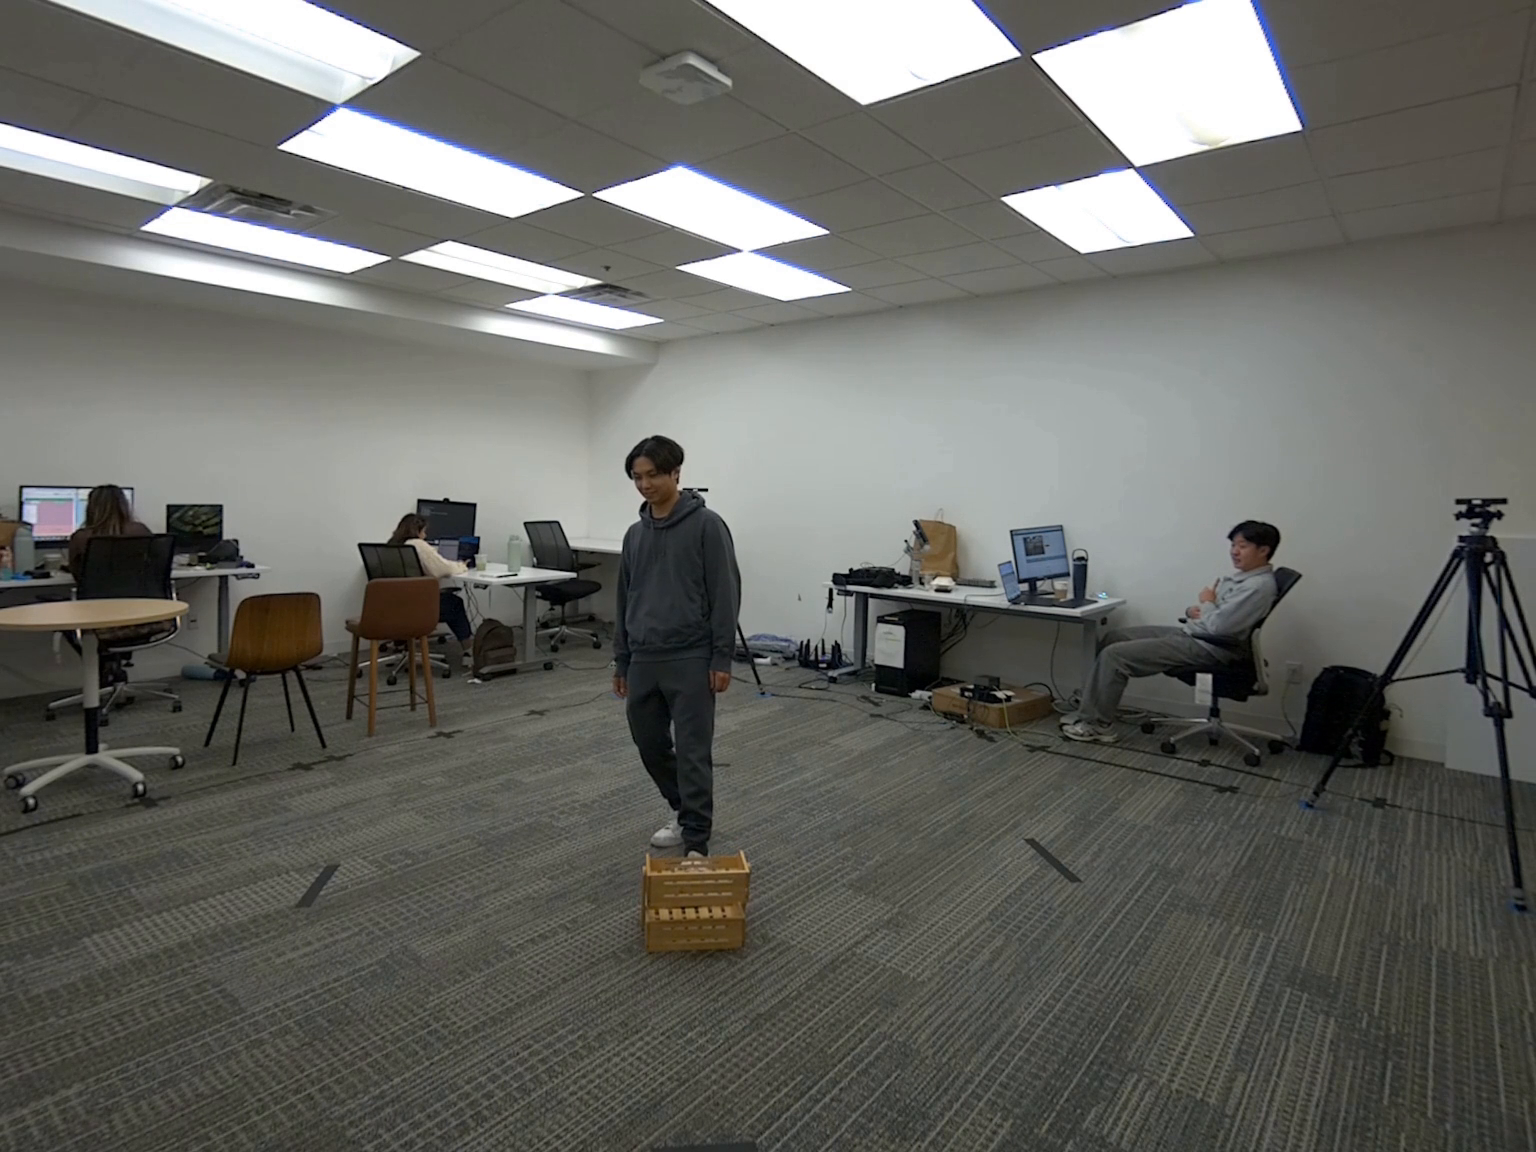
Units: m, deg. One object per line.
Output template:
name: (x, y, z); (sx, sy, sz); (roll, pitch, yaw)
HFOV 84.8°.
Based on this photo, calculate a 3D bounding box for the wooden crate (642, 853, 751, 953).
wooden crate: (-0.242, 0.978, 2.653); (0.321, 0.272, 0.306); (0, 5, -10)
